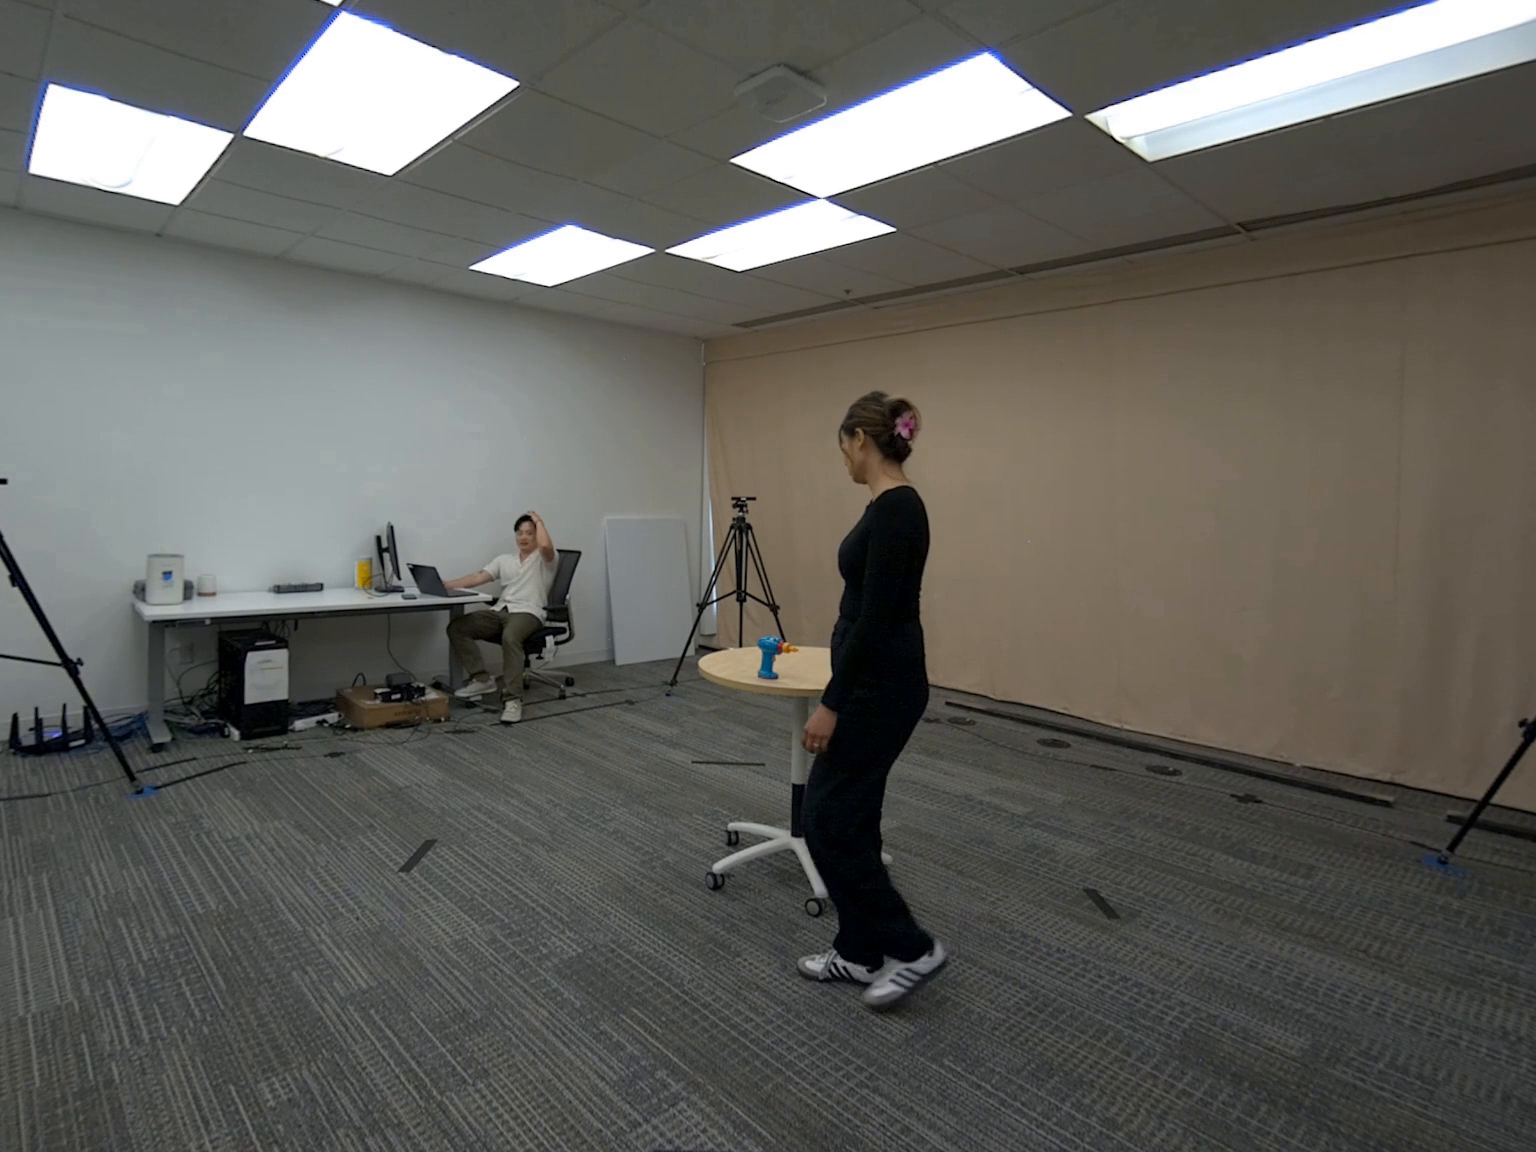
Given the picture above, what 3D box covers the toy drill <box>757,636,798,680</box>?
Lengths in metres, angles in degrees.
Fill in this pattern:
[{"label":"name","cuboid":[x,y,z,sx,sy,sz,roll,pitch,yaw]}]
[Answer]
[{"label":"toy drill","cuboid":[0.027,0.280,2.851,0.174,0.146,0.060,6,4,35]}]
